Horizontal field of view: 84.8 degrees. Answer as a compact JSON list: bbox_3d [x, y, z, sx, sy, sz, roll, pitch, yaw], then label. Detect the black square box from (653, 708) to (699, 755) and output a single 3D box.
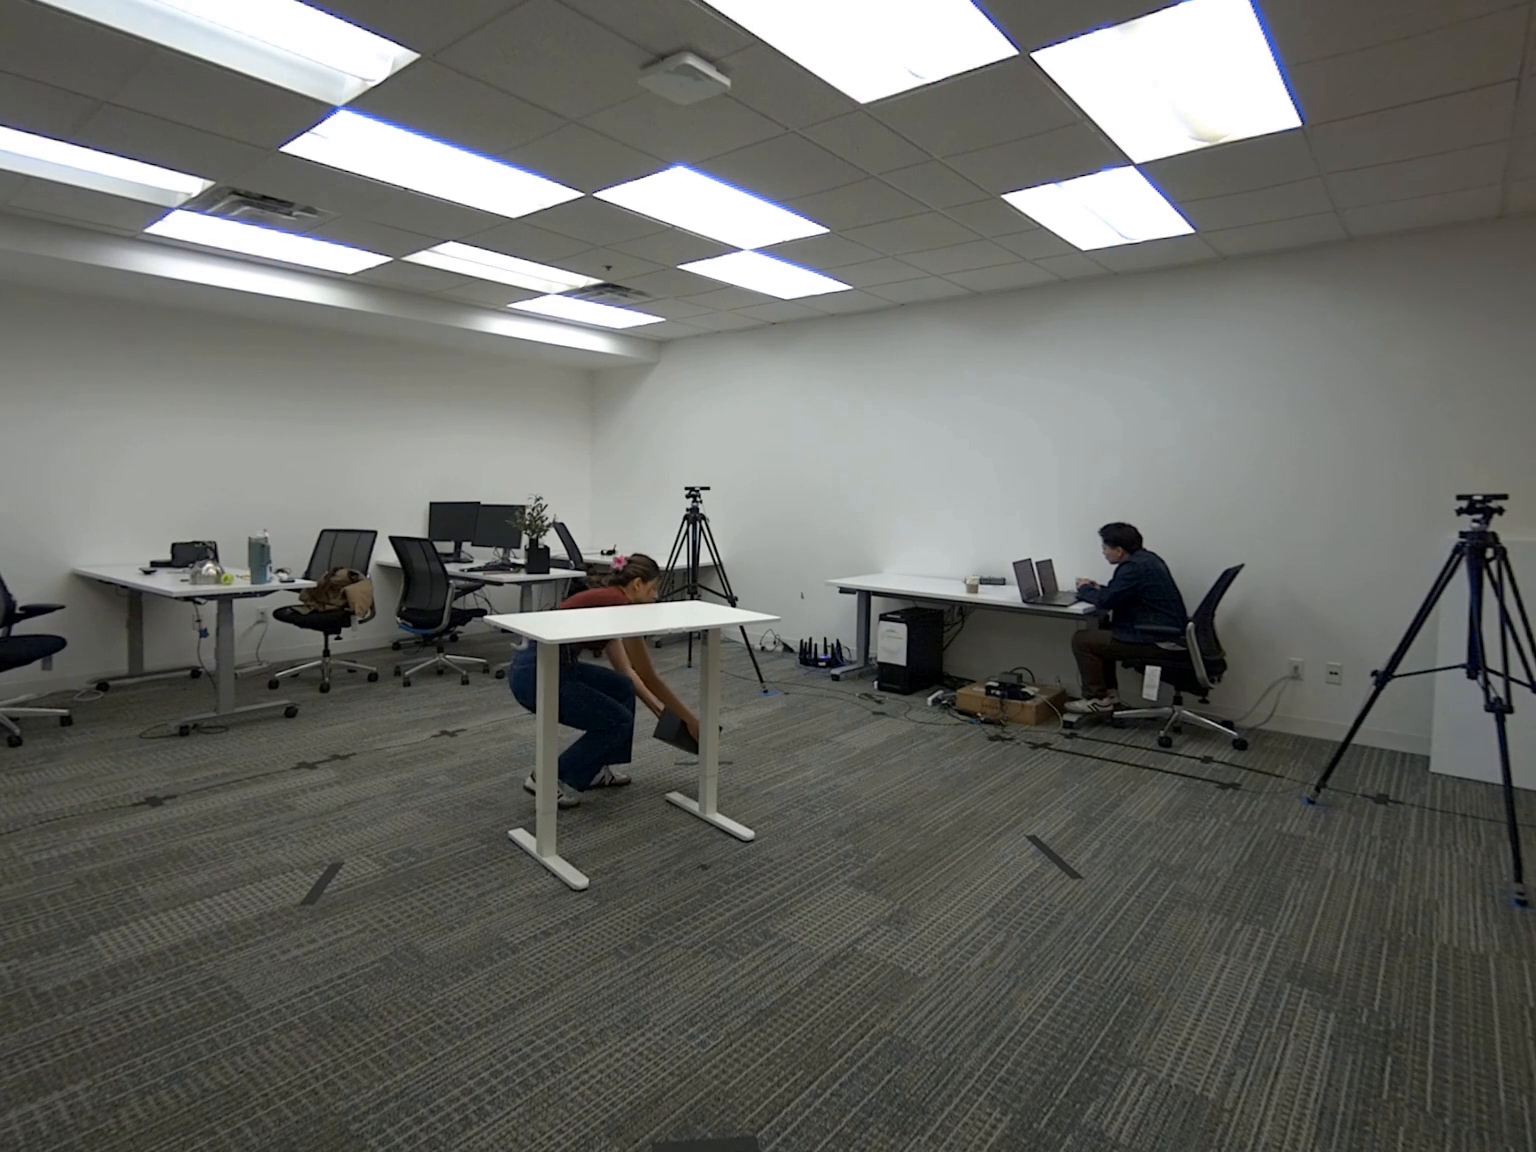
[{"bbox_3d":[-0.390,0.716,3.942,0.210,0.157,0.233,29,-17,-27],"label":"black square box"}]
